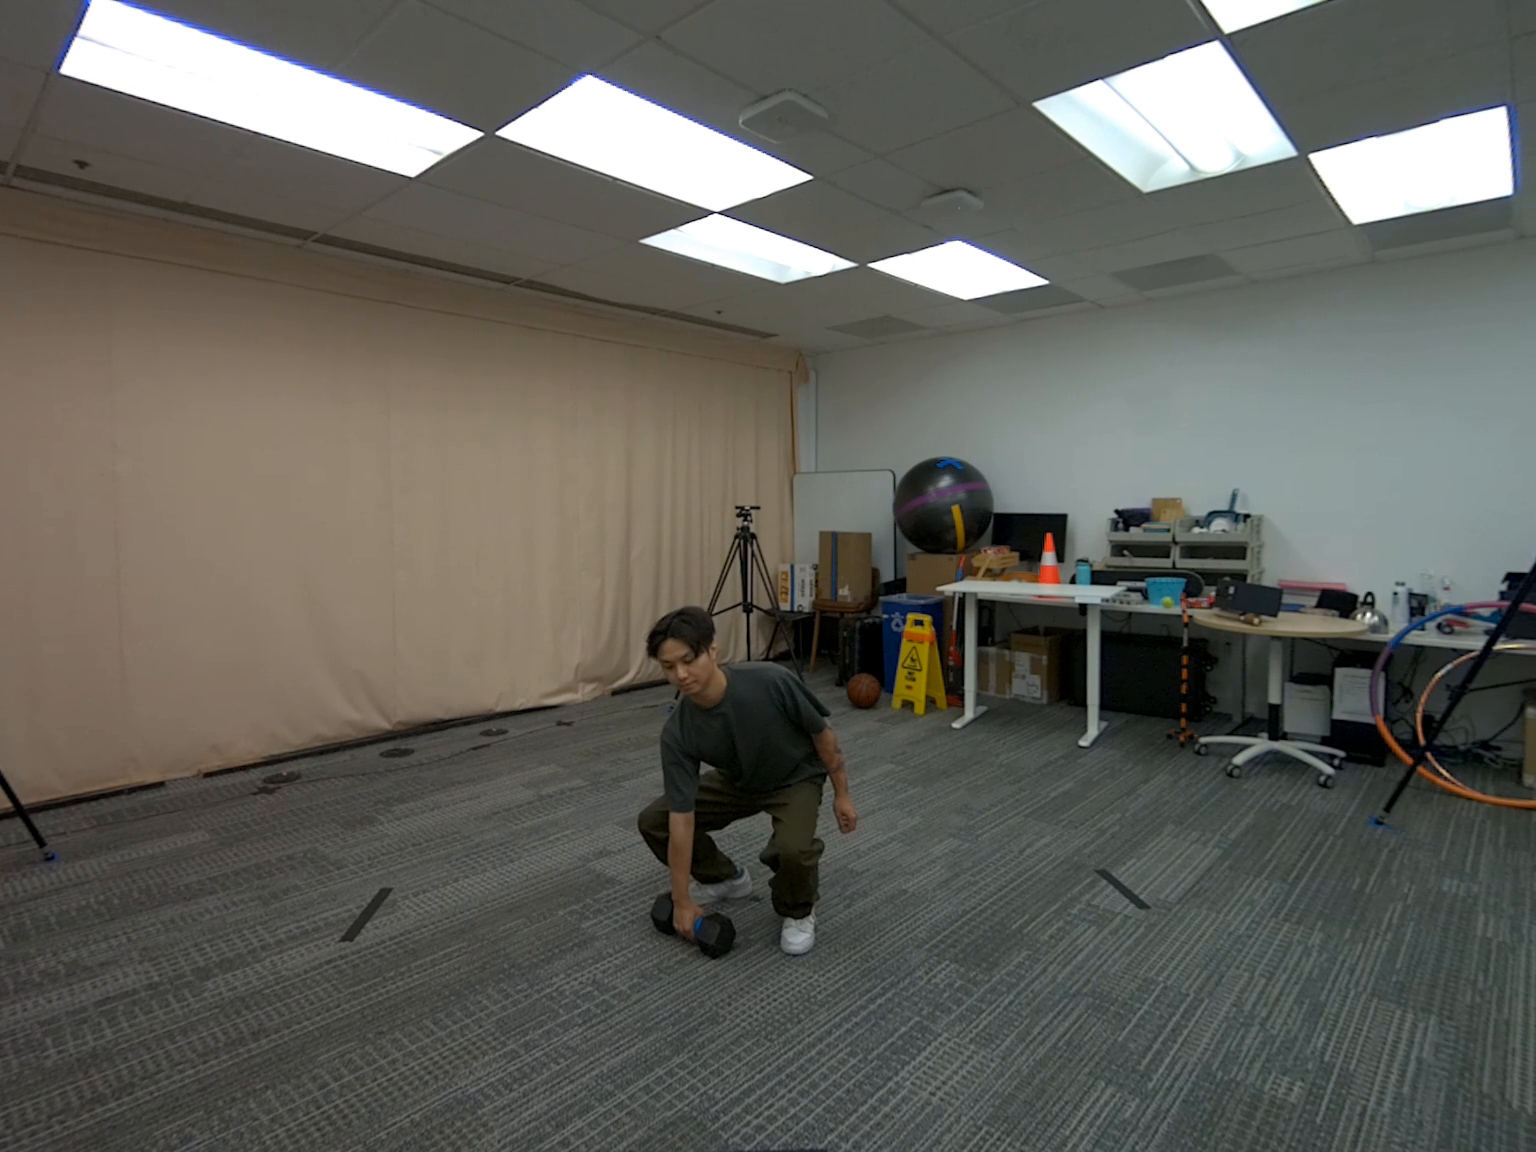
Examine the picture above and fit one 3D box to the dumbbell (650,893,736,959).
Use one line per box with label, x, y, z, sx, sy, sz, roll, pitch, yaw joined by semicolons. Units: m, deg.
dumbbell;-0.240;1.111;2.695;0.303;0.120;0.107;3;30;39
